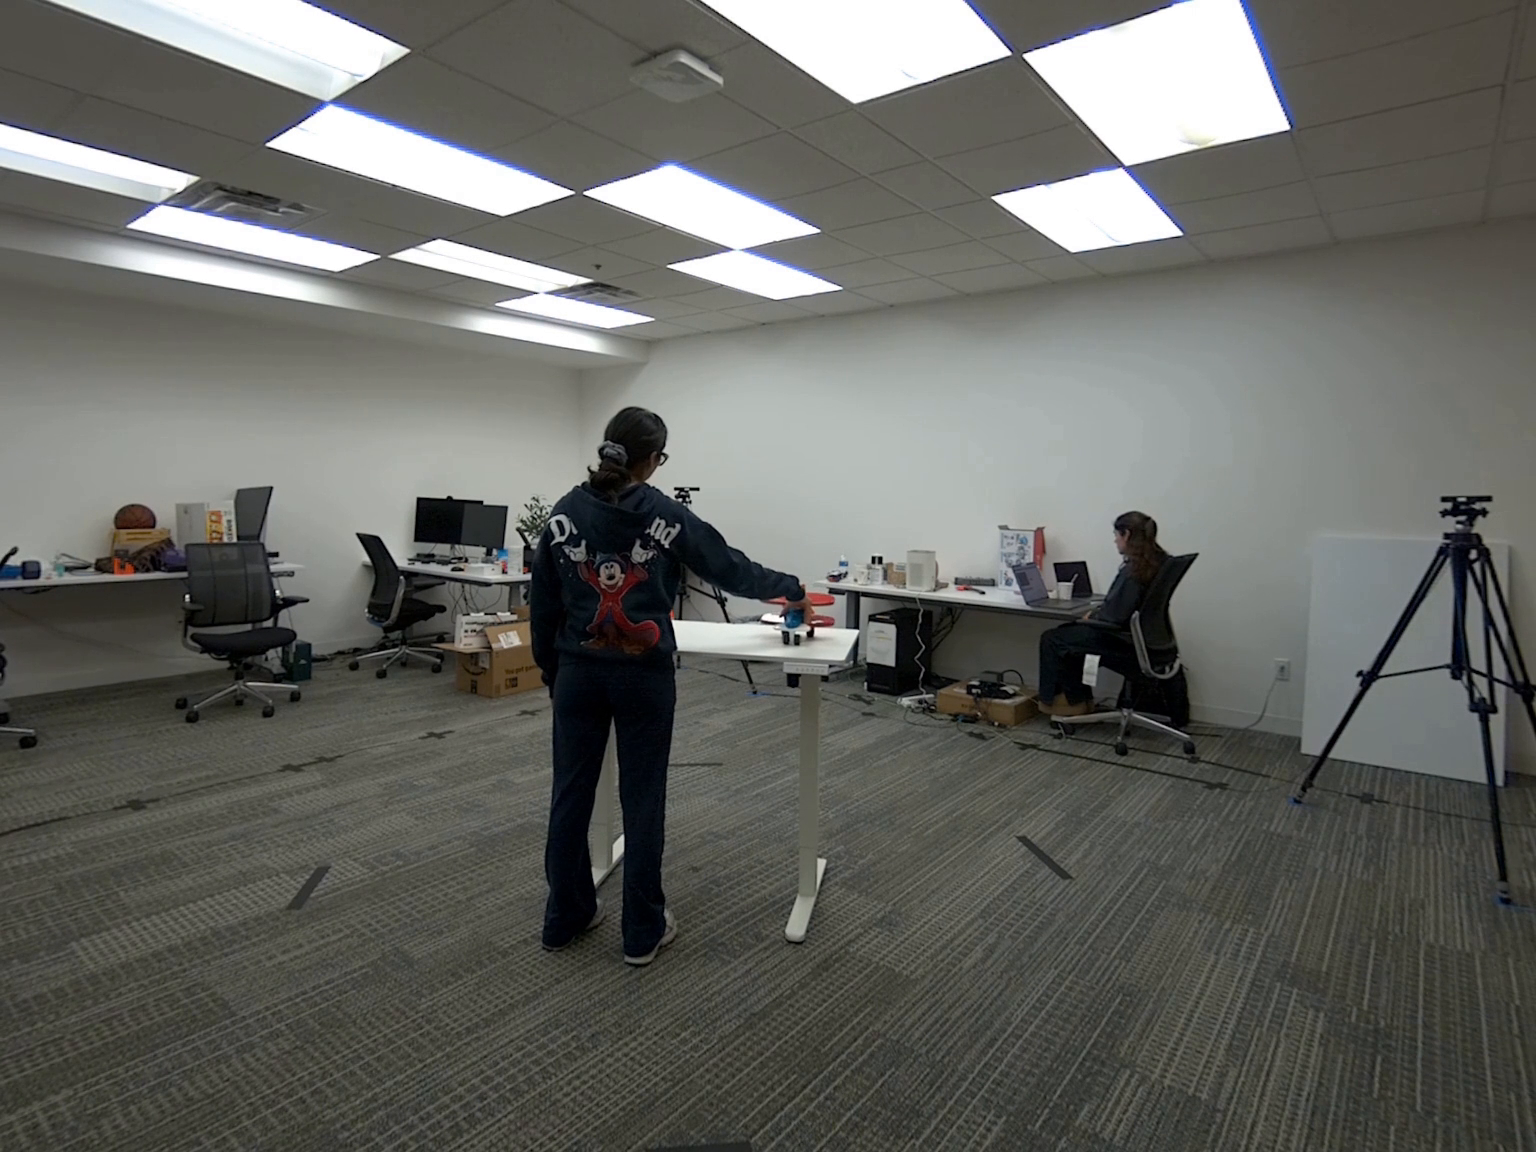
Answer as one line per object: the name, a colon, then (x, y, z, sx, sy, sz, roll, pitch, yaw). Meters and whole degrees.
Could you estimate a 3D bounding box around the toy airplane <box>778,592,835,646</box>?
toy airplane: (0.107, 0.134, 2.869, 0.246, 0.156, 0.265, -1, 5, -18)
